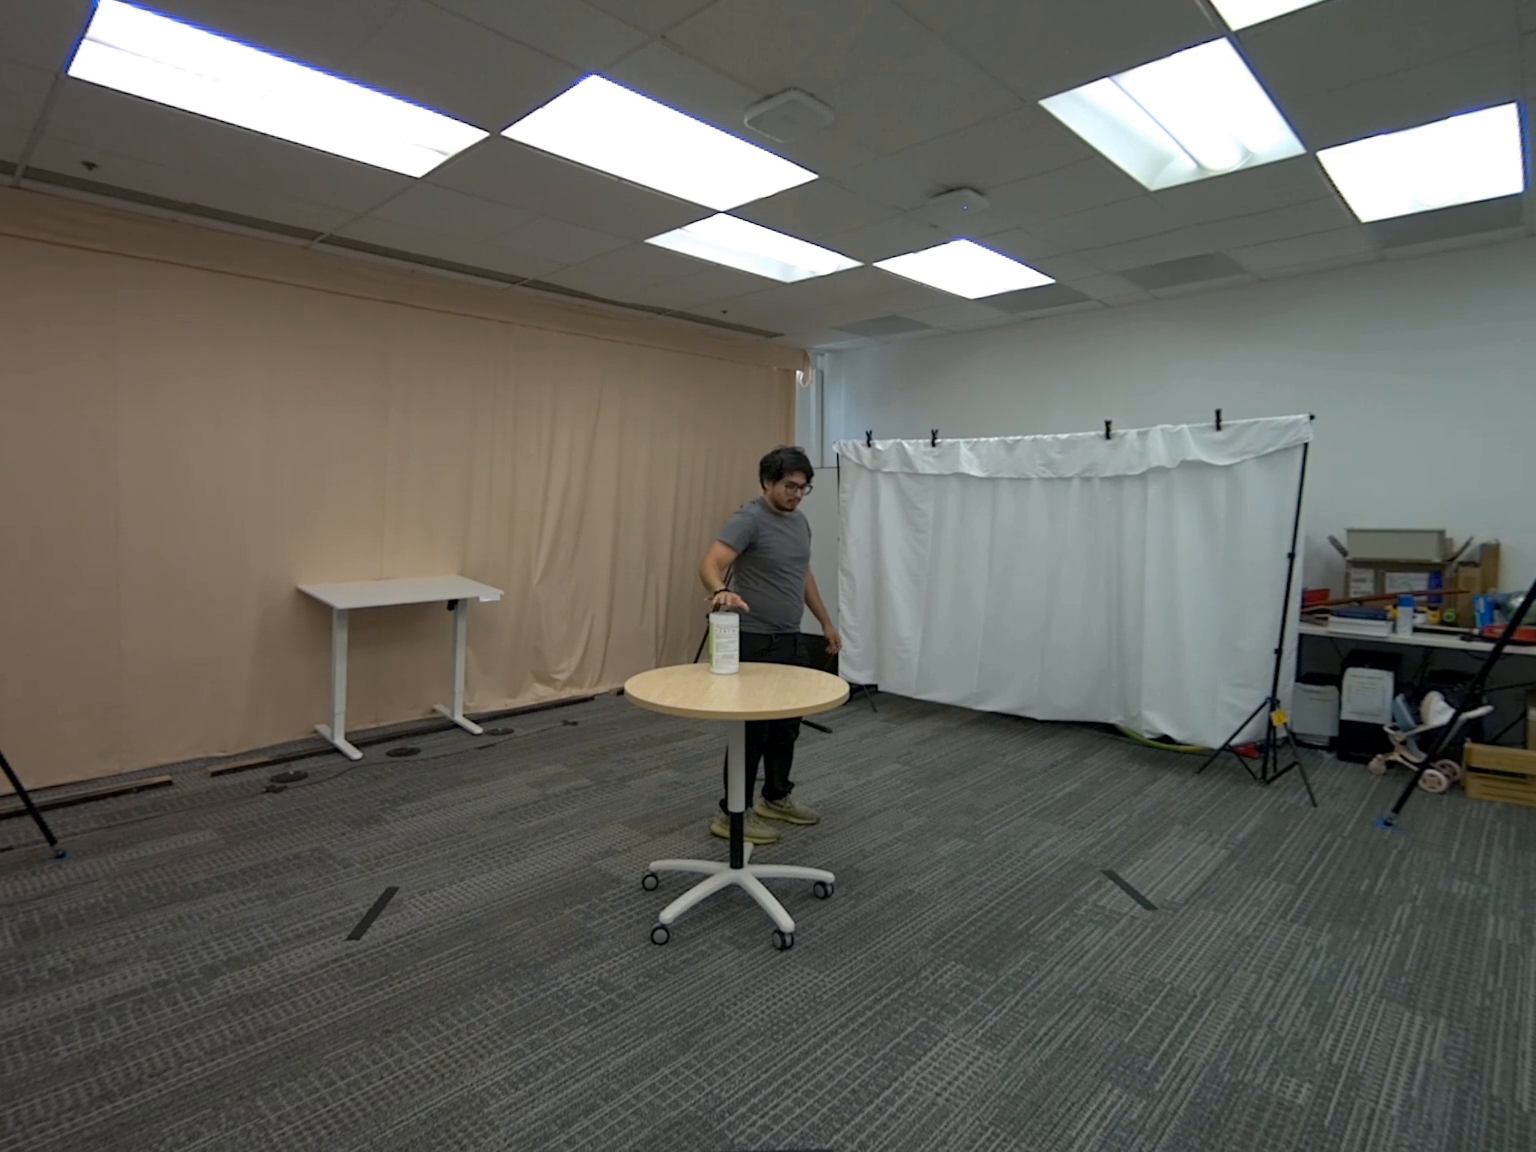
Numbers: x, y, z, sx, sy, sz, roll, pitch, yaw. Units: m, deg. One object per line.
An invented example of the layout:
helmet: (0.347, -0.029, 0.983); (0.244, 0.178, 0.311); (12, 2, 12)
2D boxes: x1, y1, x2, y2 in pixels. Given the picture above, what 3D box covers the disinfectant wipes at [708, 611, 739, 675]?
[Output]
disinfectant wipes: (-0.158, 0.246, 3.082); (0.118, 0.217, 0.118); (0, 2, -2)
